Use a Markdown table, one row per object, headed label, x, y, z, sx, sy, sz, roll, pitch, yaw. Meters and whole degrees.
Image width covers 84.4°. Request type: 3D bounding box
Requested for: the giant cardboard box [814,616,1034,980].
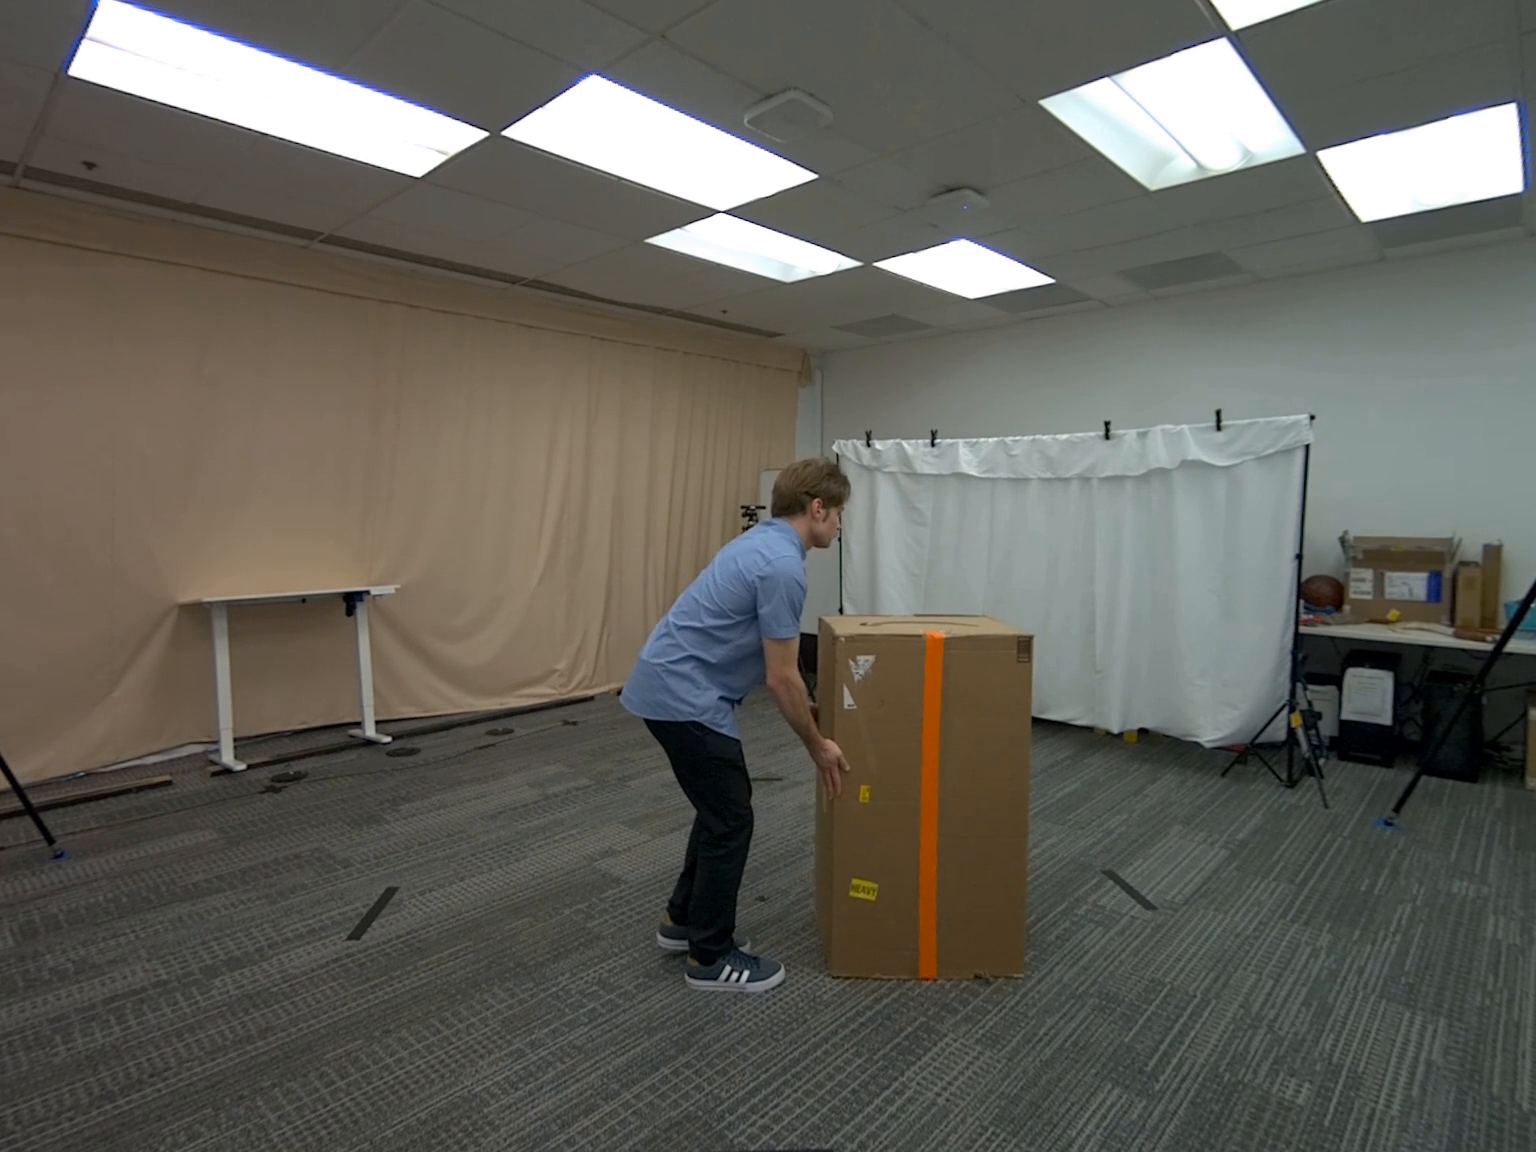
| label | x | y | z | sx | sy | sz | roll | pitch | yaw |
| --- | --- | --- | --- | --- | --- | --- | --- | --- | --- |
| giant cardboard box | 0.470 | 0.661 | 2.656 | 0.577 | 1.024 | 0.427 | 1 | 3 | -1 |
